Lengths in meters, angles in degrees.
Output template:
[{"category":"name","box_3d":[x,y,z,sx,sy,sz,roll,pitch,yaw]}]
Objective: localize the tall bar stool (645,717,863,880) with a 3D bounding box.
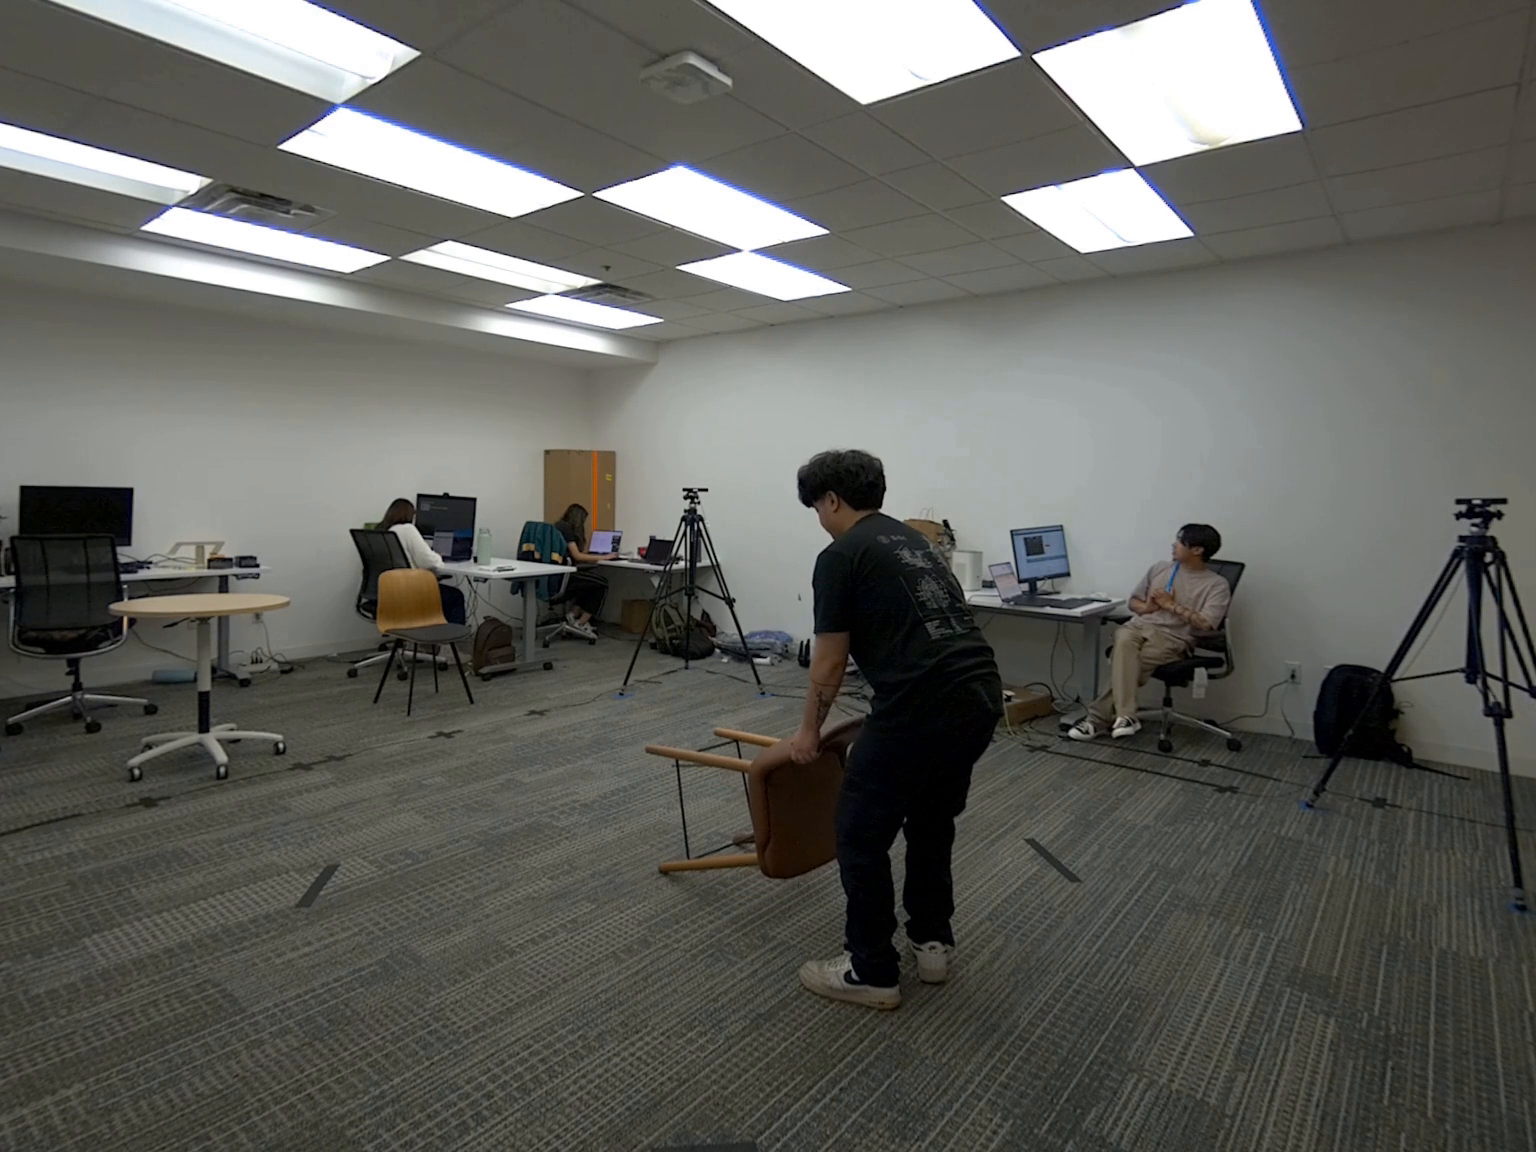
[{"category":"tall bar stool","box_3d":[0.003,0.756,2.929,0.442,0.472,0.909,-3,-10,-46]}]
